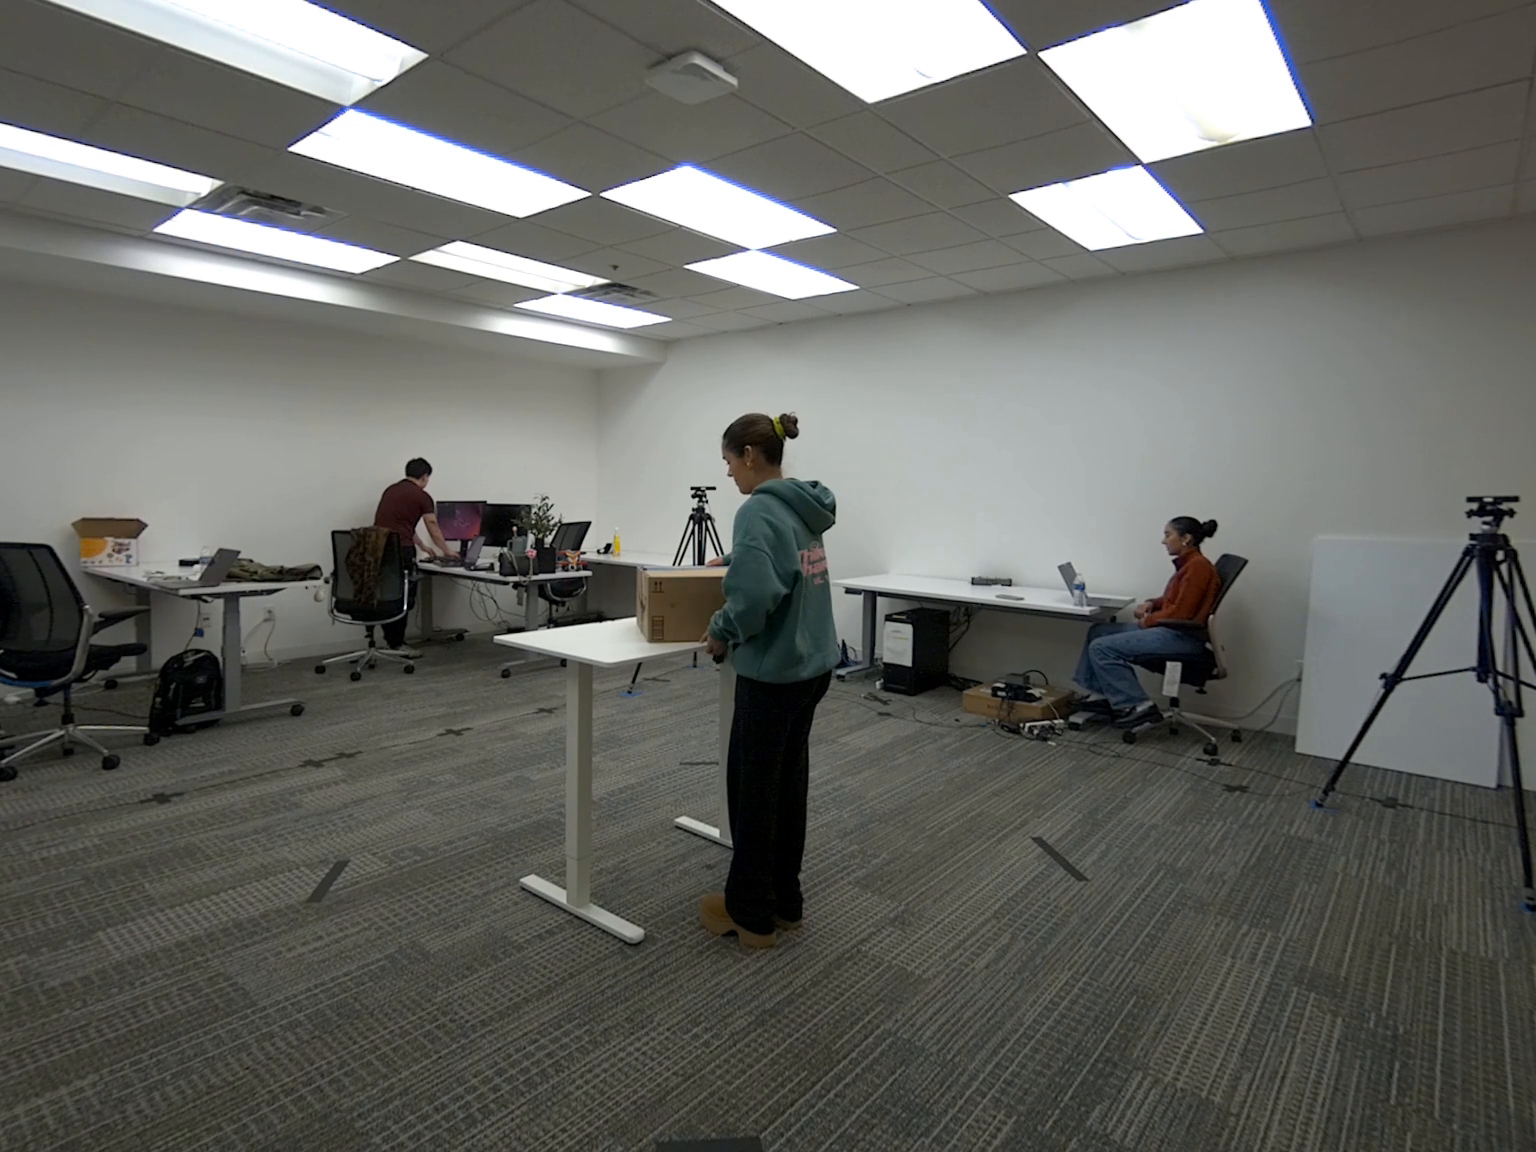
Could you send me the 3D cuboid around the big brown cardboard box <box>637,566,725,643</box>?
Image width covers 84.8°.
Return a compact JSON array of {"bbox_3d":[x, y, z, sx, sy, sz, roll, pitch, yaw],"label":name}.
[{"bbox_3d":[-0.175,0.081,3.011,0.582,0.232,0.424,-1,5,-12],"label":"big brown cardboard box"}]
